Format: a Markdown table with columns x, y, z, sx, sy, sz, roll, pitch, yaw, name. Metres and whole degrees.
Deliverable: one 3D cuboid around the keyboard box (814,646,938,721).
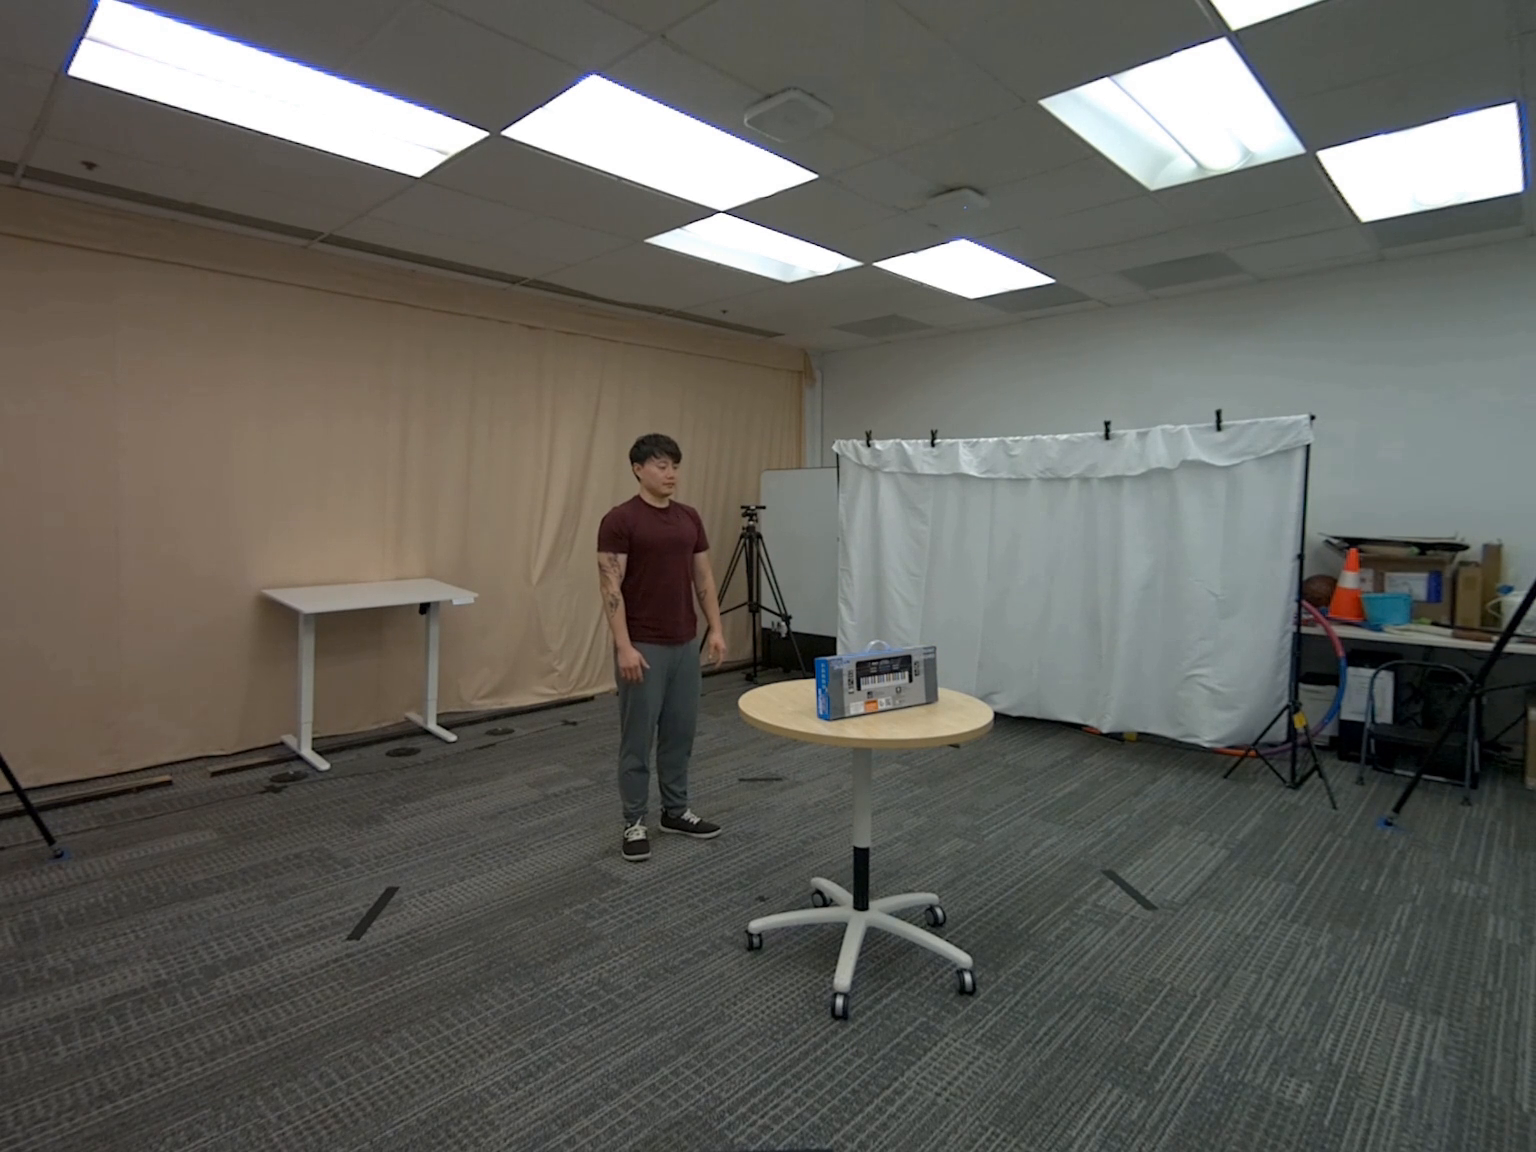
| x | y | z | sx | sy | sz | roll | pitch | yaw | name |
| --- | --- | --- | --- | --- | --- | --- | --- | --- | --- |
| 0.337 | 0.318 | 2.508 | 0.424 | 0.176 | 0.061 | -3 | 0 | -32 | keyboard box |
